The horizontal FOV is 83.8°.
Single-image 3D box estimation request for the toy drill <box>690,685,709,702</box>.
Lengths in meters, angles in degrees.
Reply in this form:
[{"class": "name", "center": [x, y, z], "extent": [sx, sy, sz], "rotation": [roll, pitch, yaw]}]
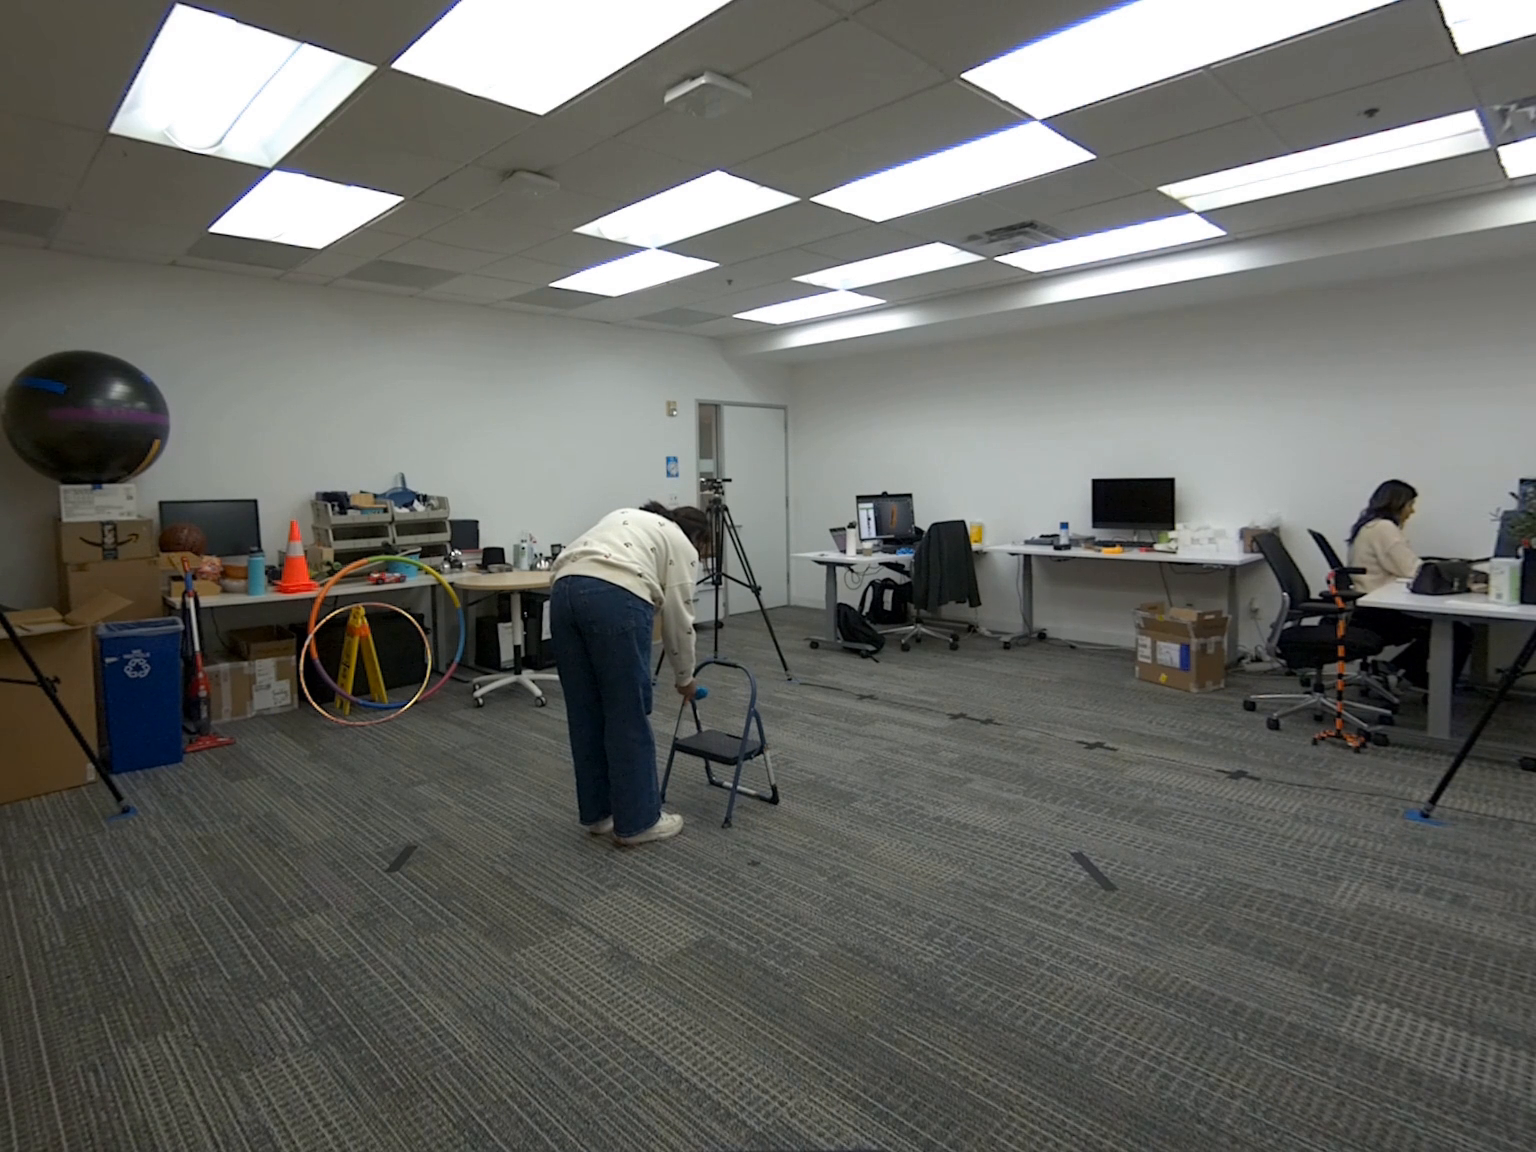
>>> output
[{"class": "toy drill", "center": [-0.350, 0.502, 3.729], "extent": [0.142, 0.062, 0.172], "rotation": [28, -27, -22]}]
